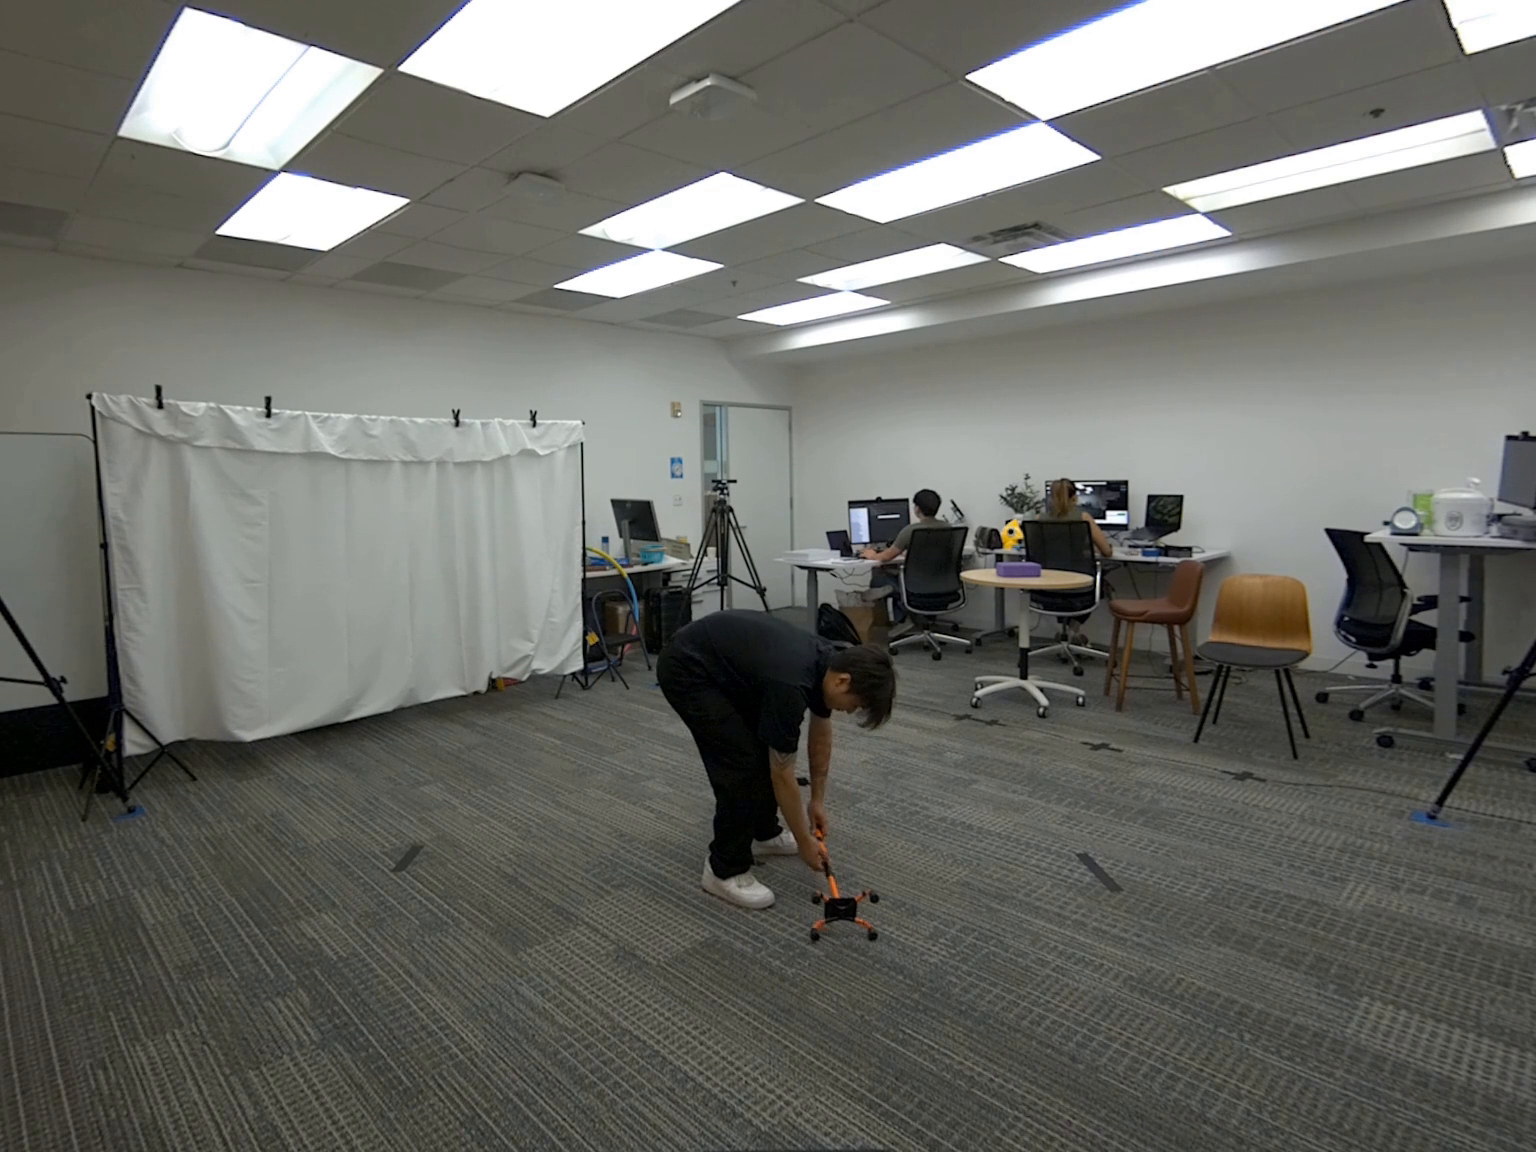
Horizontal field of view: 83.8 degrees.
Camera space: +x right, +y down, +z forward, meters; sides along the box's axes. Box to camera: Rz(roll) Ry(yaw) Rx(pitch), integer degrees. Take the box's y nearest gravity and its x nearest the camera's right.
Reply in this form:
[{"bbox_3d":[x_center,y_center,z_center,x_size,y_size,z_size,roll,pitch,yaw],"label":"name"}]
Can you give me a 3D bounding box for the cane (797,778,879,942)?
[{"bbox_3d":[0.191,0.912,3.008,0.205,0.150,0.921,2,13,-6],"label":"cane"}]
